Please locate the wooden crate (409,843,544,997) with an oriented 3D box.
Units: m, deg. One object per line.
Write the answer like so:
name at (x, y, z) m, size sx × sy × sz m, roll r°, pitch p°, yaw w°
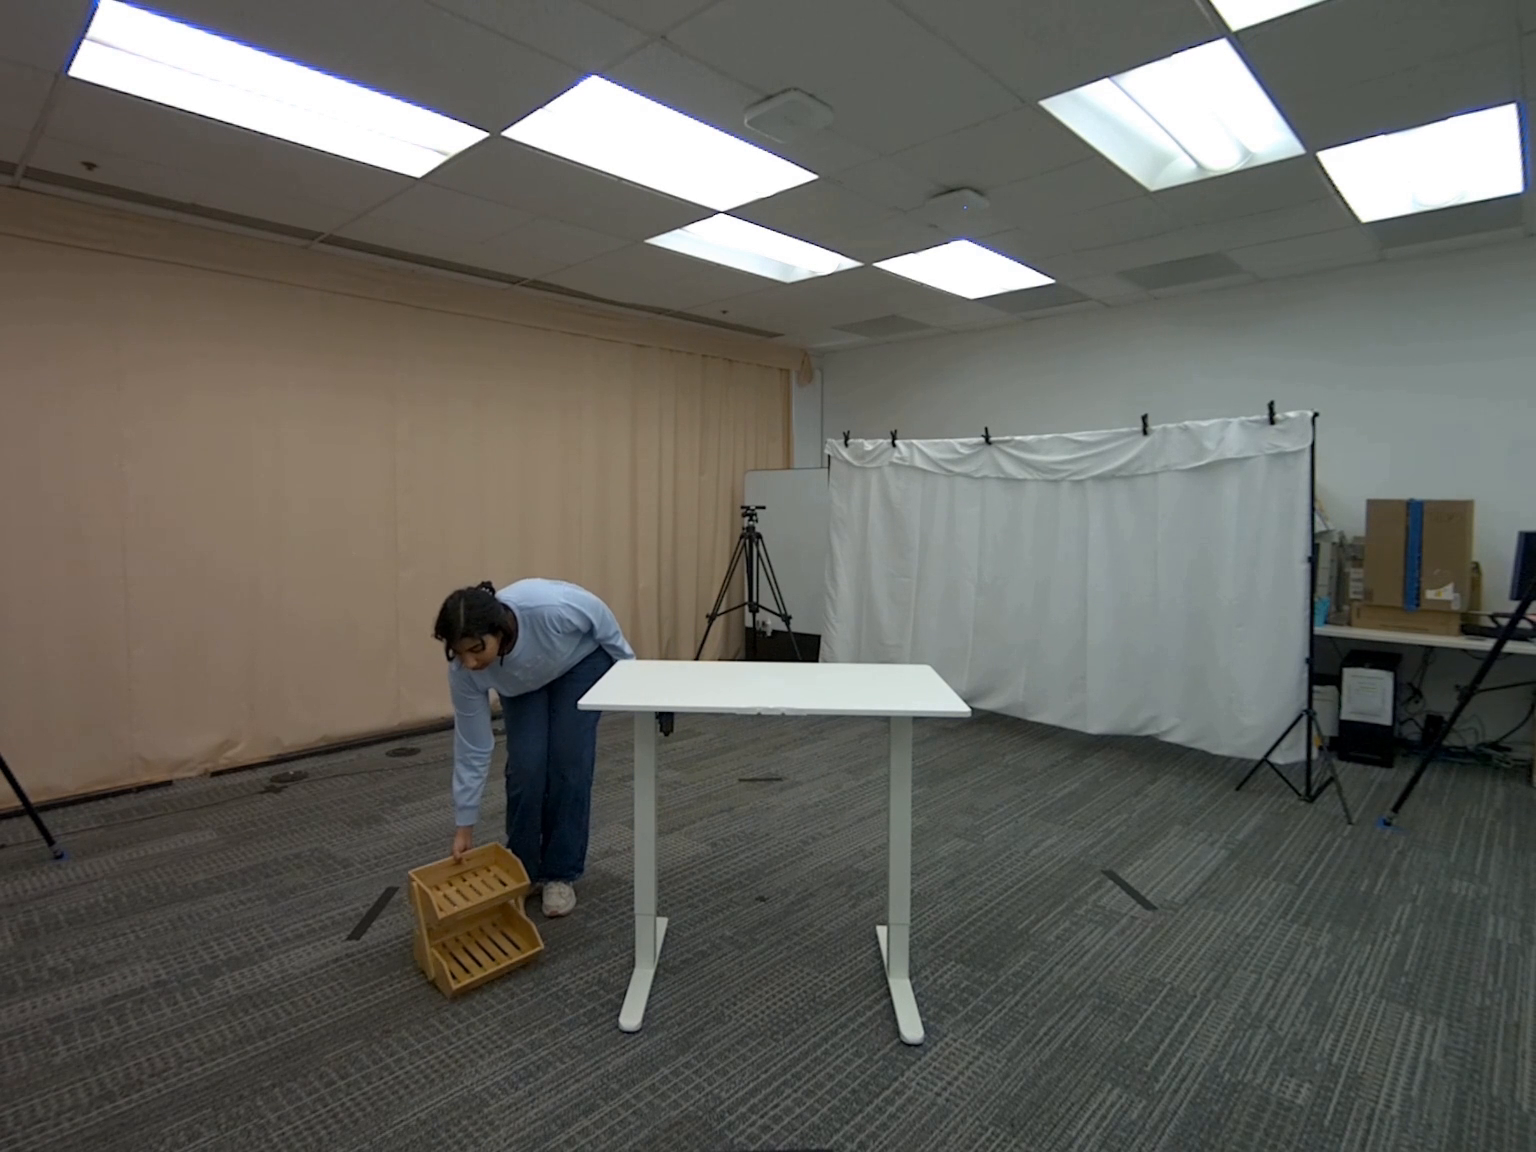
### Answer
wooden crate at (-0.880, 1.017, 2.552) m, size 0.313 × 0.272 × 0.315 m, roll 14°, pitch 14°, yaw 43°
